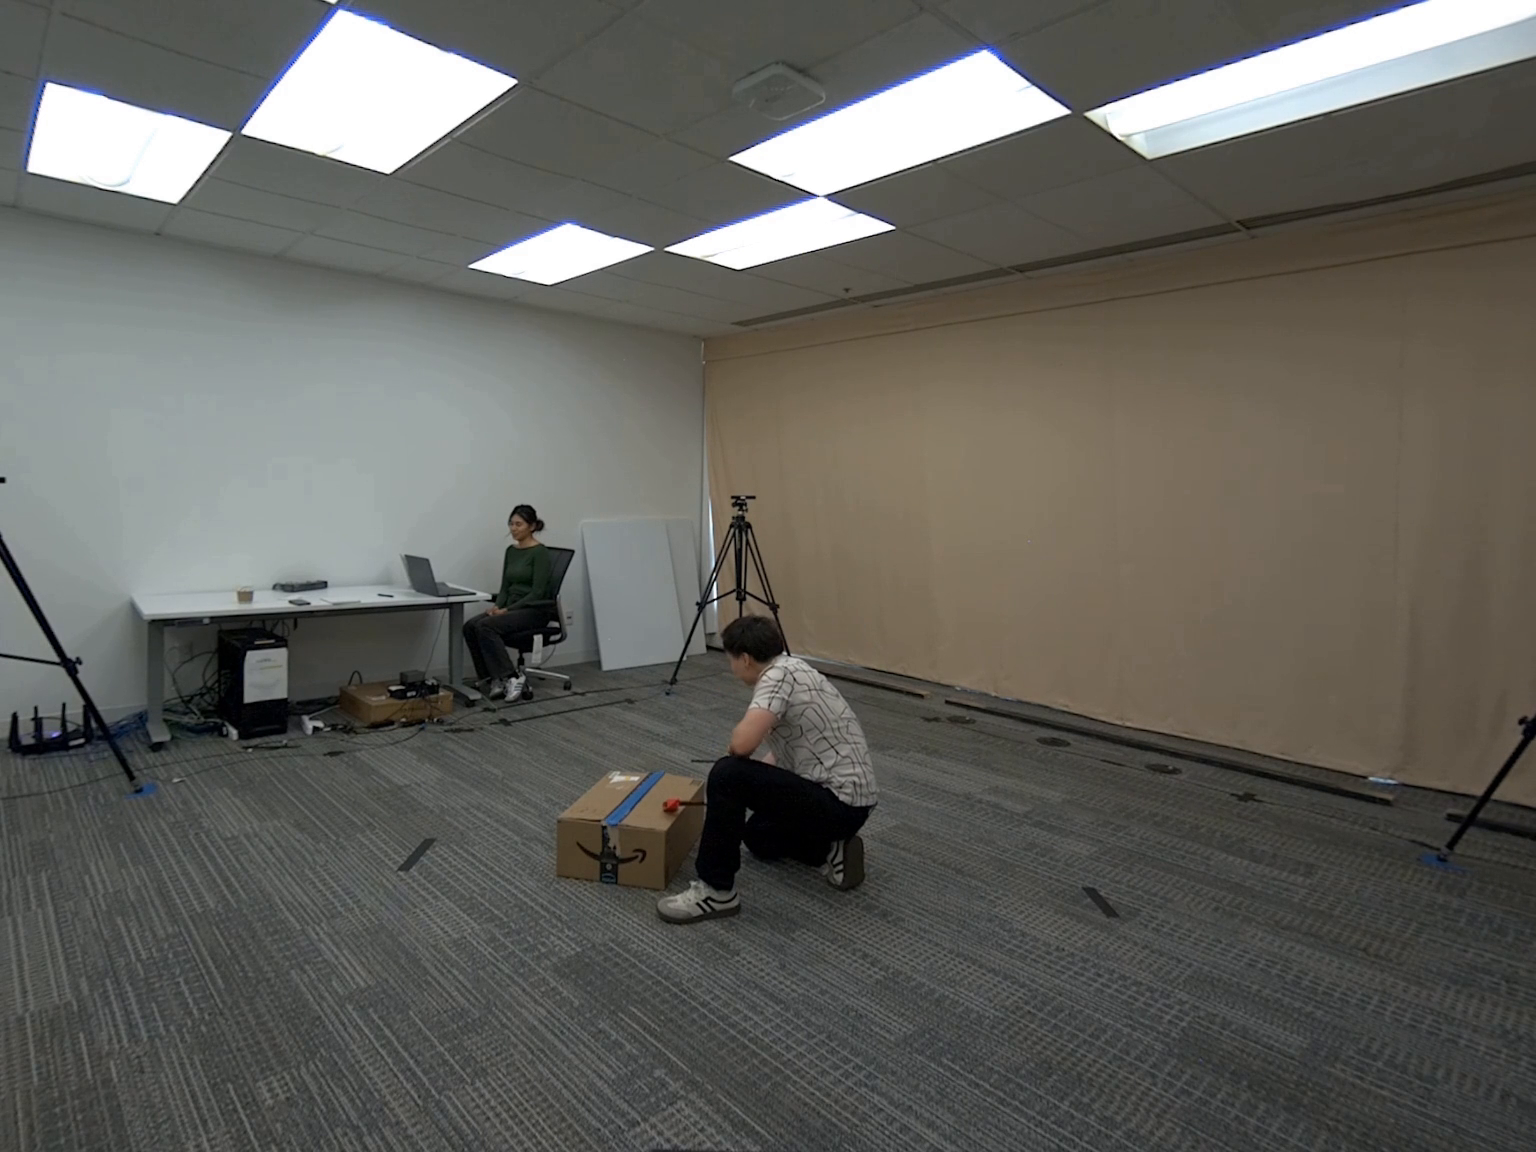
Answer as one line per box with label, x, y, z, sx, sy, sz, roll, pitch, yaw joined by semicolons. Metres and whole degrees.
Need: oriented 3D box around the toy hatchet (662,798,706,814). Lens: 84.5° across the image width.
toy hatchet;-0.295;0.864;3.176;0.262;0.030;0.132;23;-43;-41
